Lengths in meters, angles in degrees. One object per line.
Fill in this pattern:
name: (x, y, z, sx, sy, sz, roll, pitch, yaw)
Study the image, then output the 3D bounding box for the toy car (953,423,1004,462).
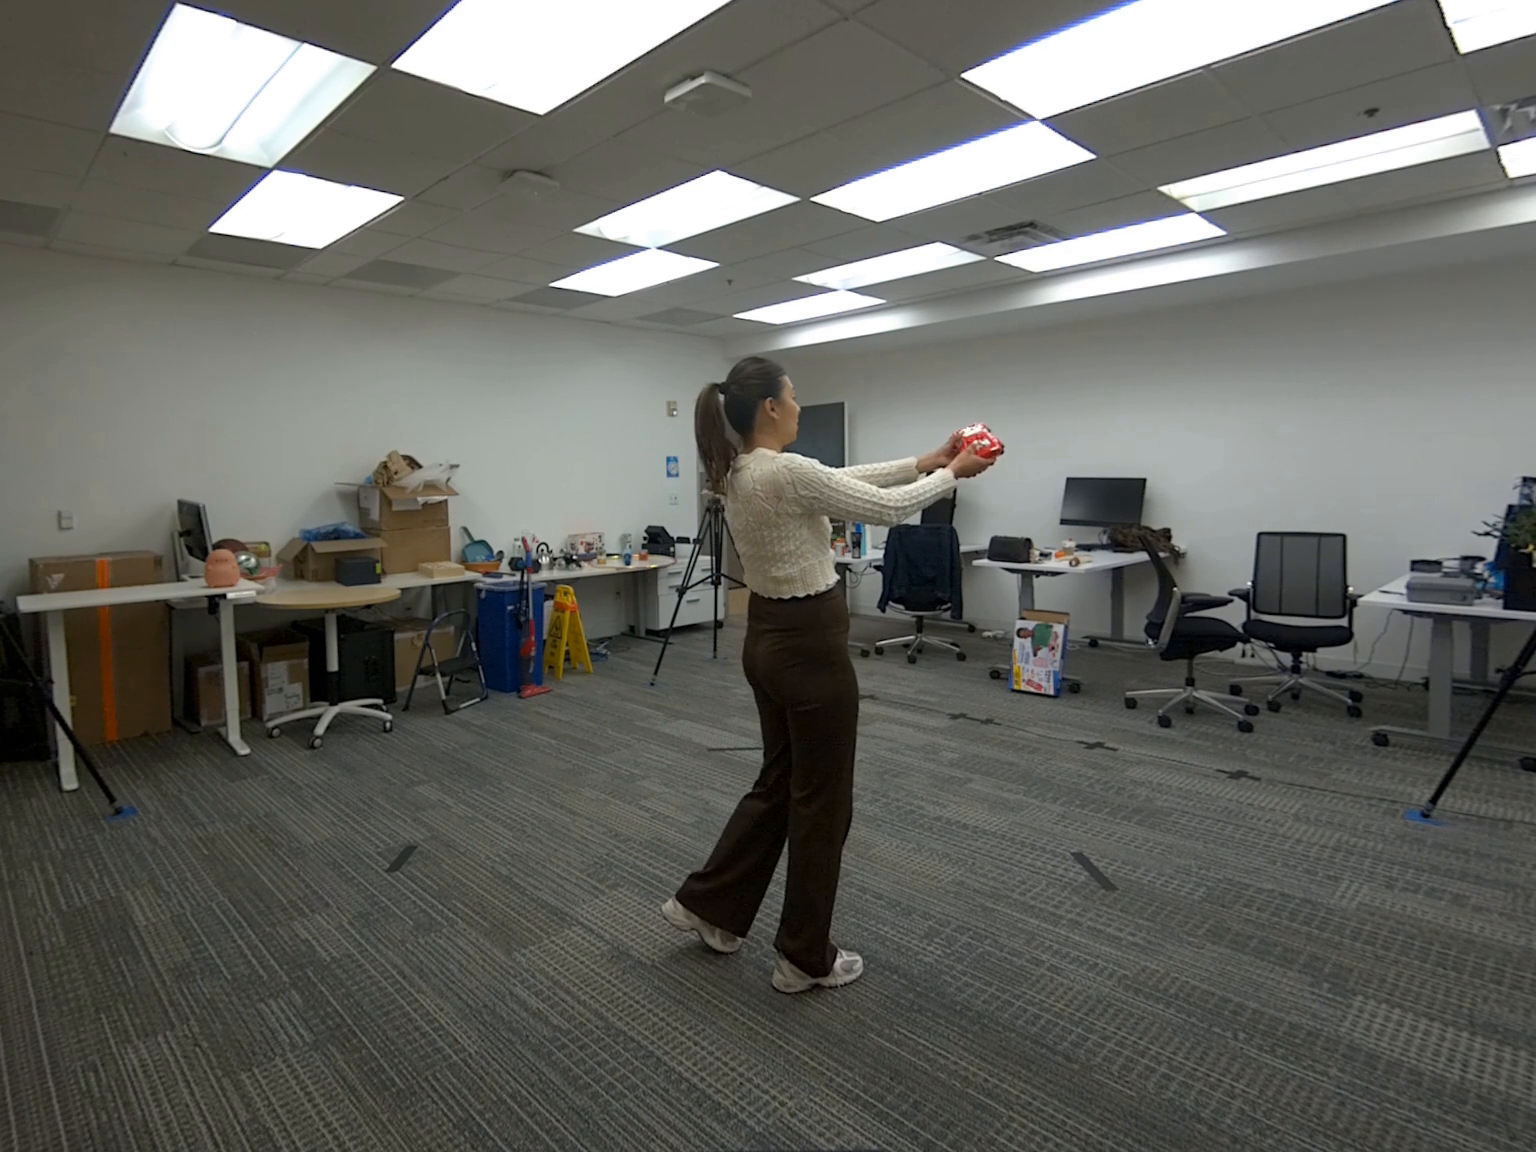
toy car: (0.603, -0.381, 2.483, 0.131, 0.082, 0.257, -22, 15, 10)
